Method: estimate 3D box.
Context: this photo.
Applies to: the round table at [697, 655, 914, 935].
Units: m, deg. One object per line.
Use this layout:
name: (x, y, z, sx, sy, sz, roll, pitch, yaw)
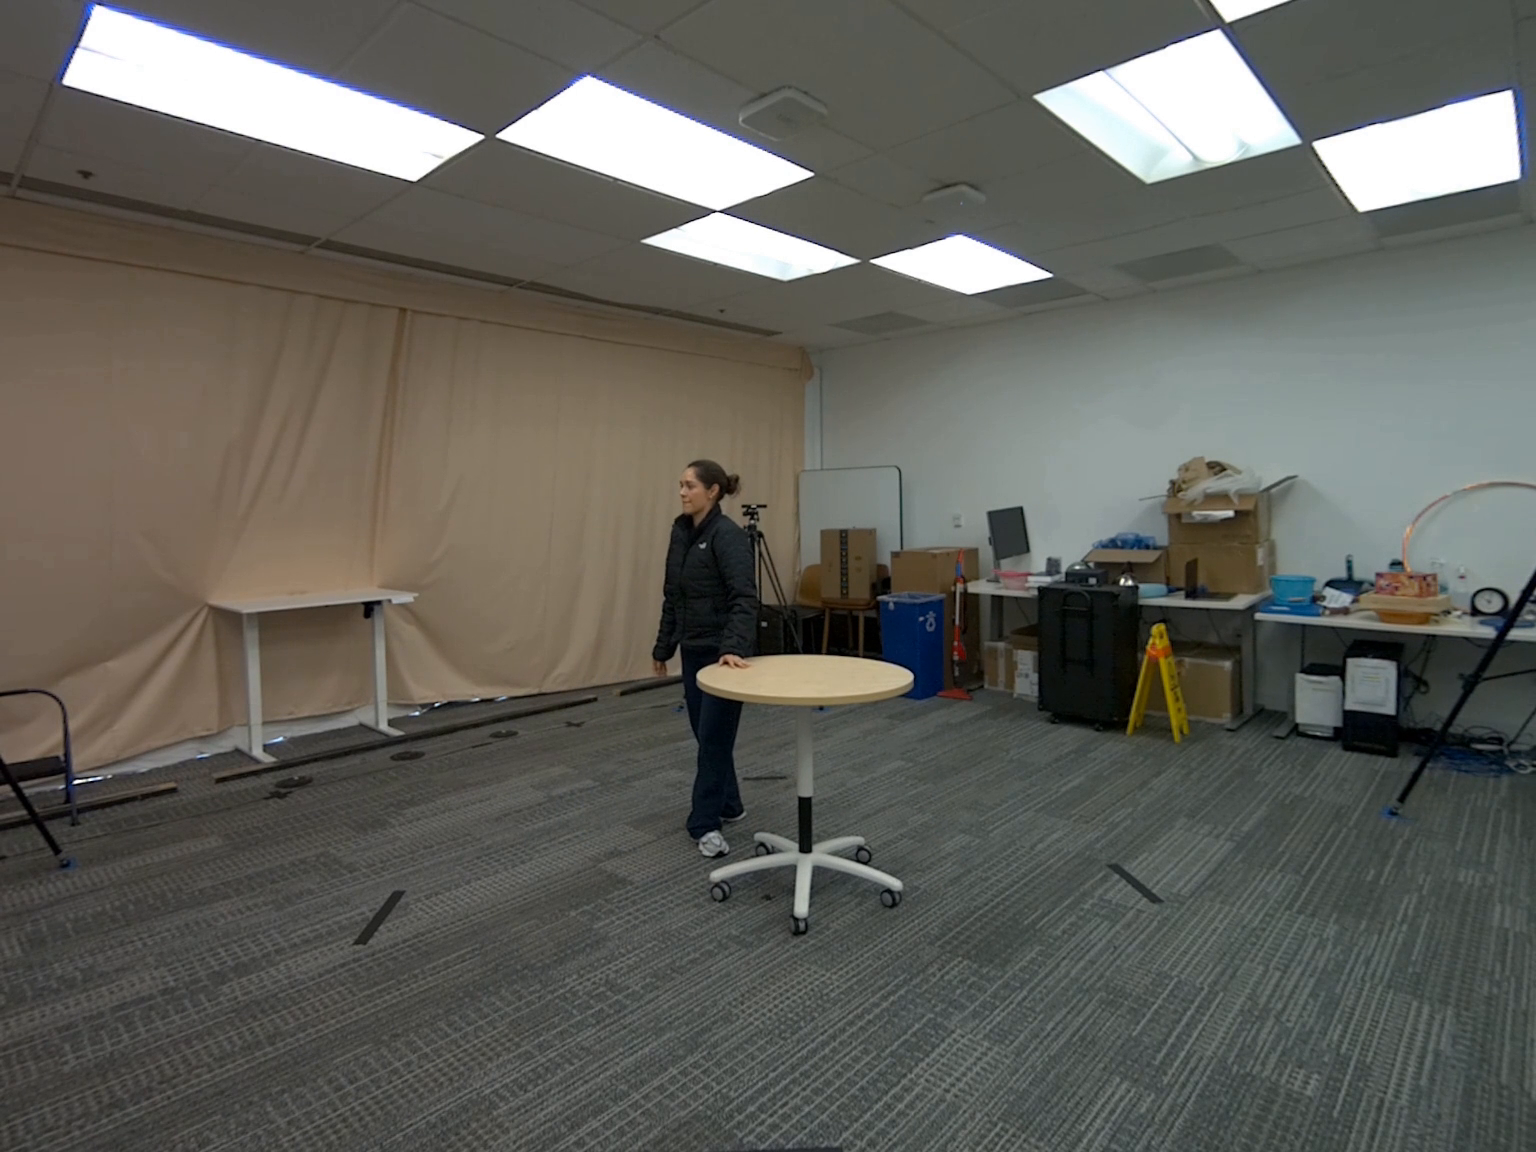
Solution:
round table: (0.136, 0.737, 3.025, 0.784, 0.785, 0.788, 0, 3, -2)
